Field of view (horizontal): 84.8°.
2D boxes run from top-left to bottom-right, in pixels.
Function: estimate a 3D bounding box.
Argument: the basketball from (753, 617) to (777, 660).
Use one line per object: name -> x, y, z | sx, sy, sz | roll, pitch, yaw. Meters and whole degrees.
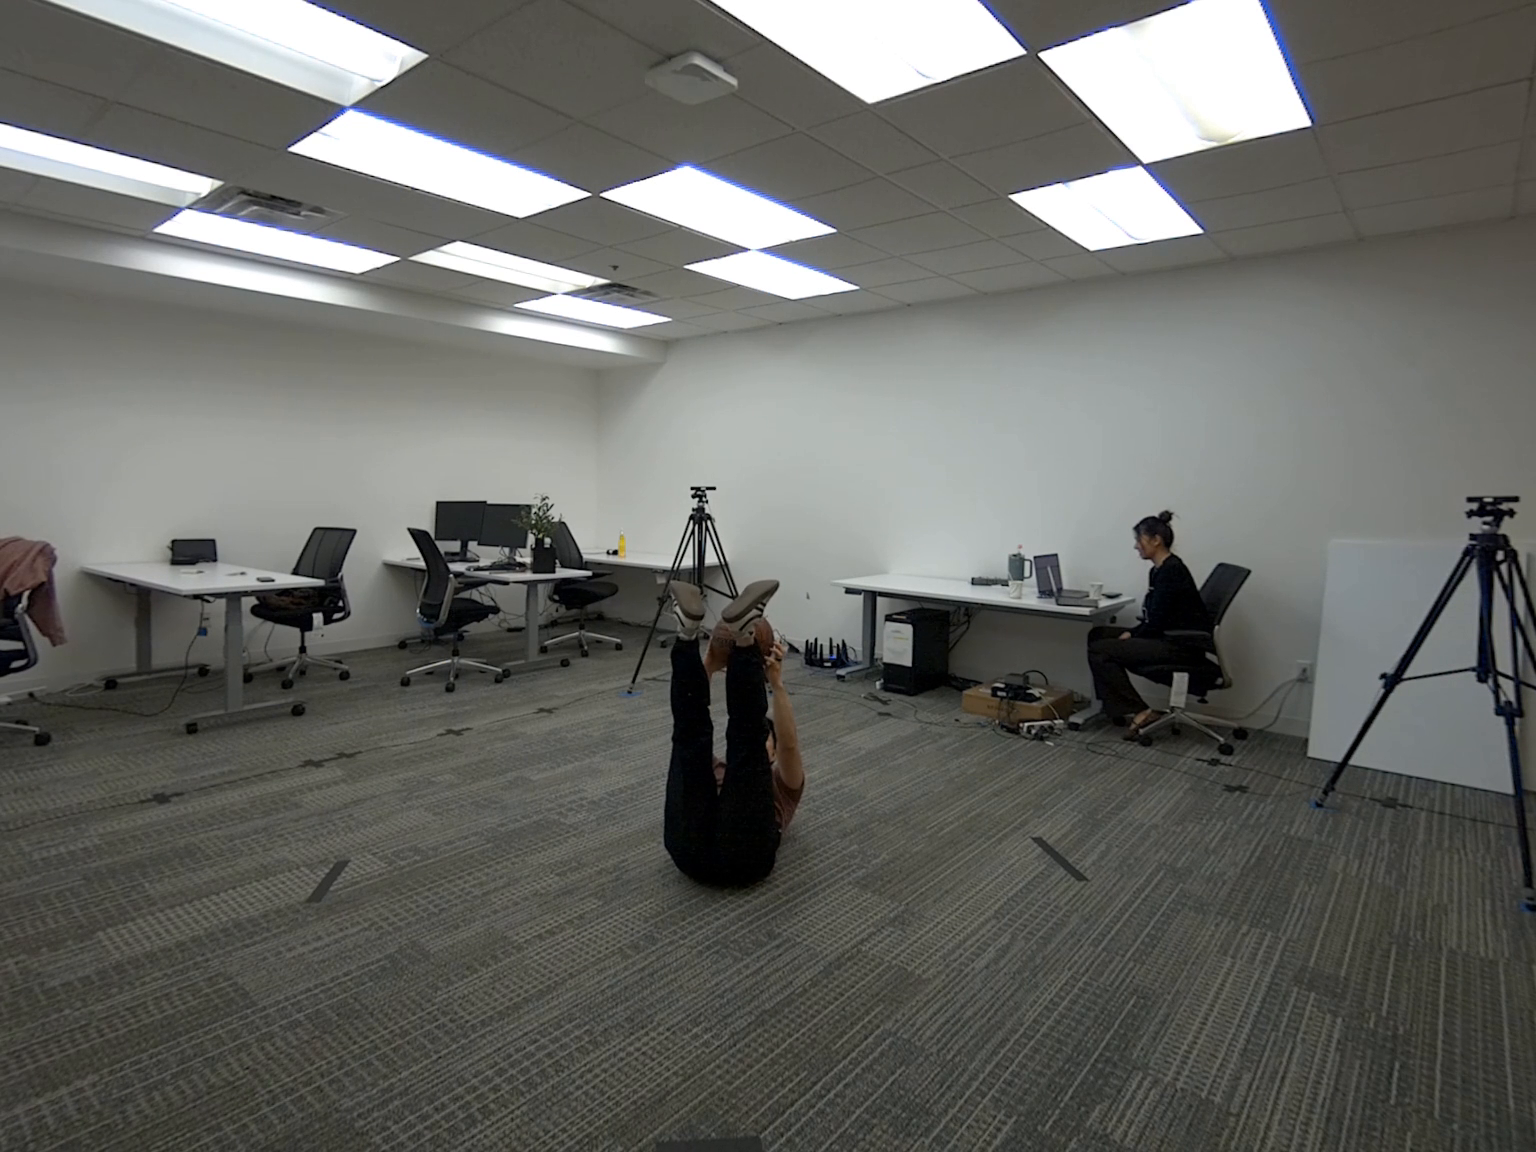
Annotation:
basketball -> -0.100, 0.240, 3.220 | 0.236, 0.235, 0.237 | -3, 3, -2
